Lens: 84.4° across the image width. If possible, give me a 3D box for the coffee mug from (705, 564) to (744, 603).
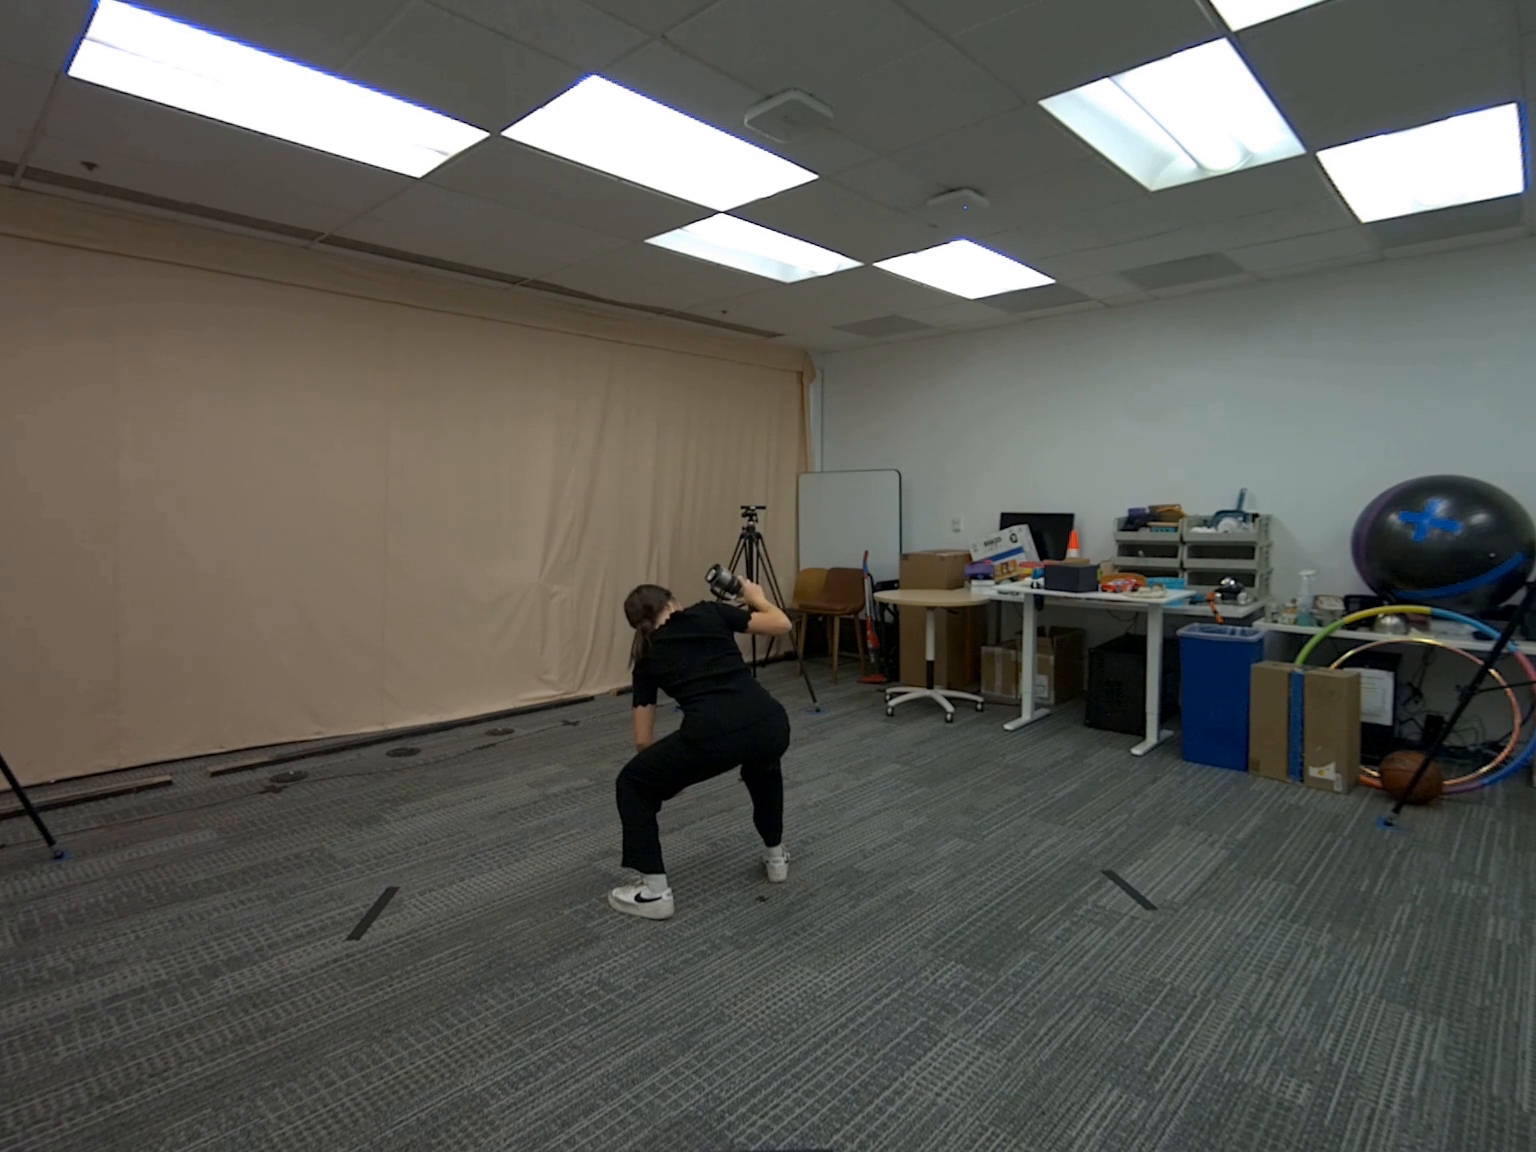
[{"bbox_3d":[-0.147,0.040,3.333,0.198,0.122,0.090,30,21,-21],"label":"coffee mug"}]
